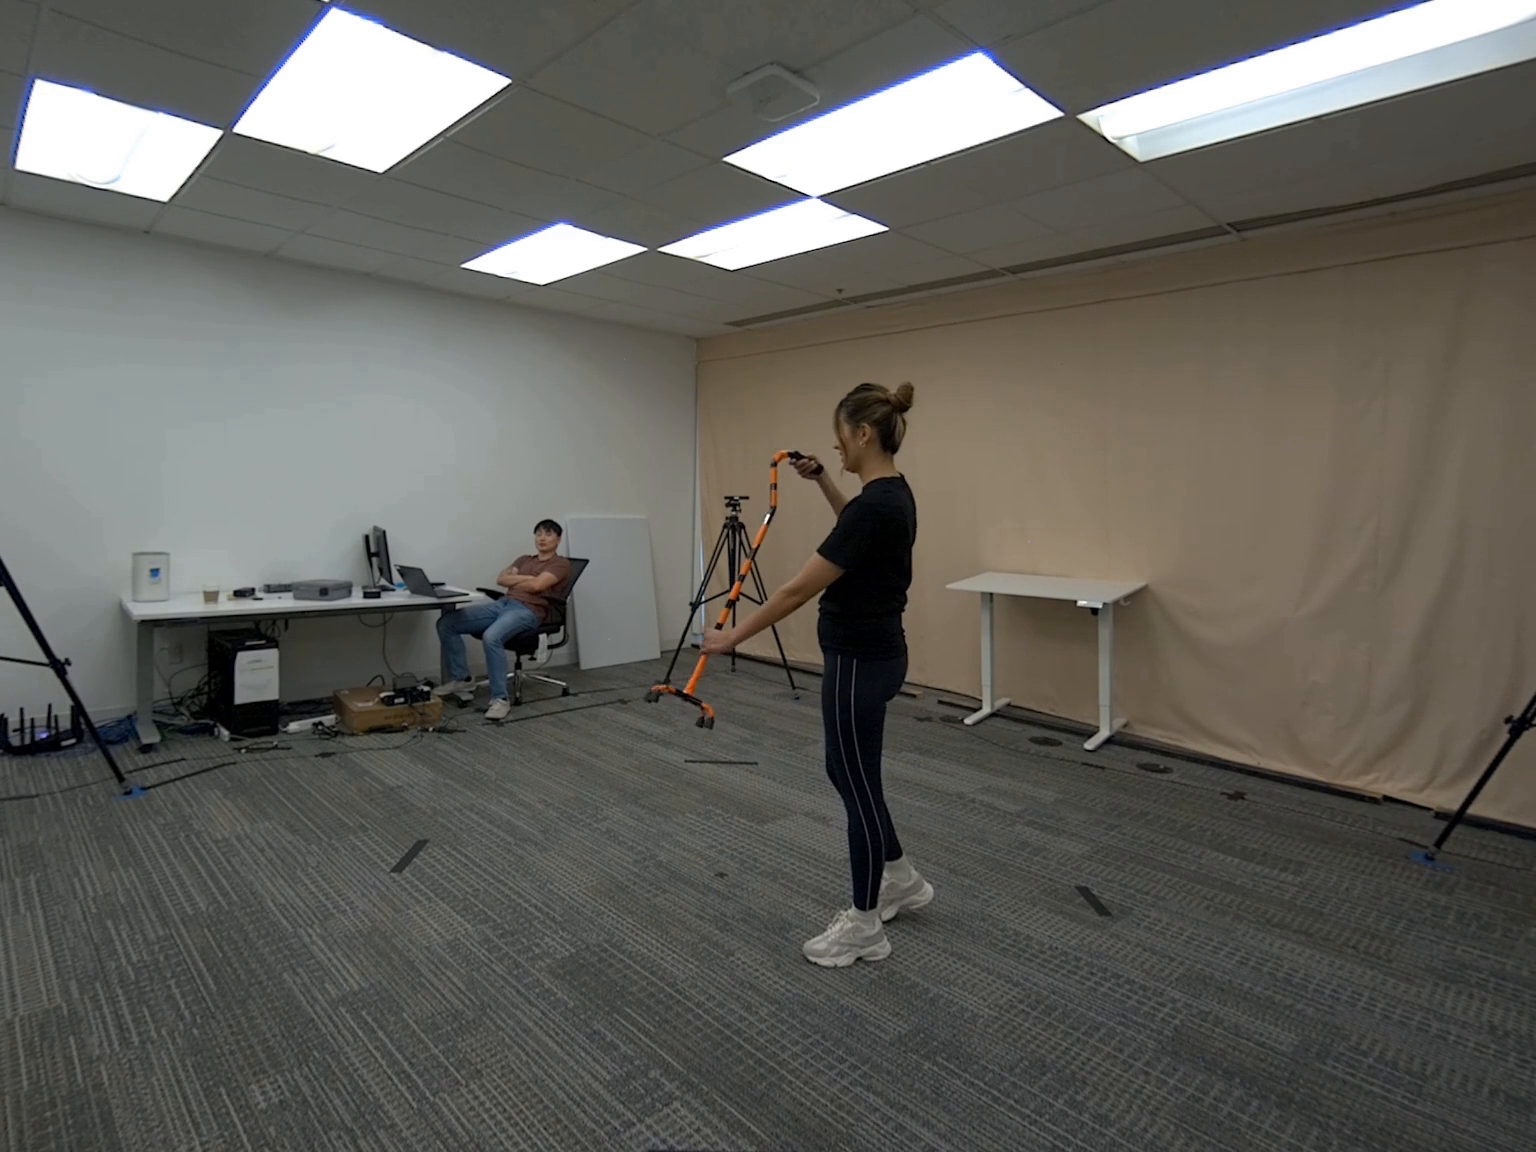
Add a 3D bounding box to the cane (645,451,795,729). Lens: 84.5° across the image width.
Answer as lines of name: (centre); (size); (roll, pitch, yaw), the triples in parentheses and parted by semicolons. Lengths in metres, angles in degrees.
cane: (-0.088, 0.016, 2.592); (0.202, 0.913, 0.153); (30, -18, -19)
